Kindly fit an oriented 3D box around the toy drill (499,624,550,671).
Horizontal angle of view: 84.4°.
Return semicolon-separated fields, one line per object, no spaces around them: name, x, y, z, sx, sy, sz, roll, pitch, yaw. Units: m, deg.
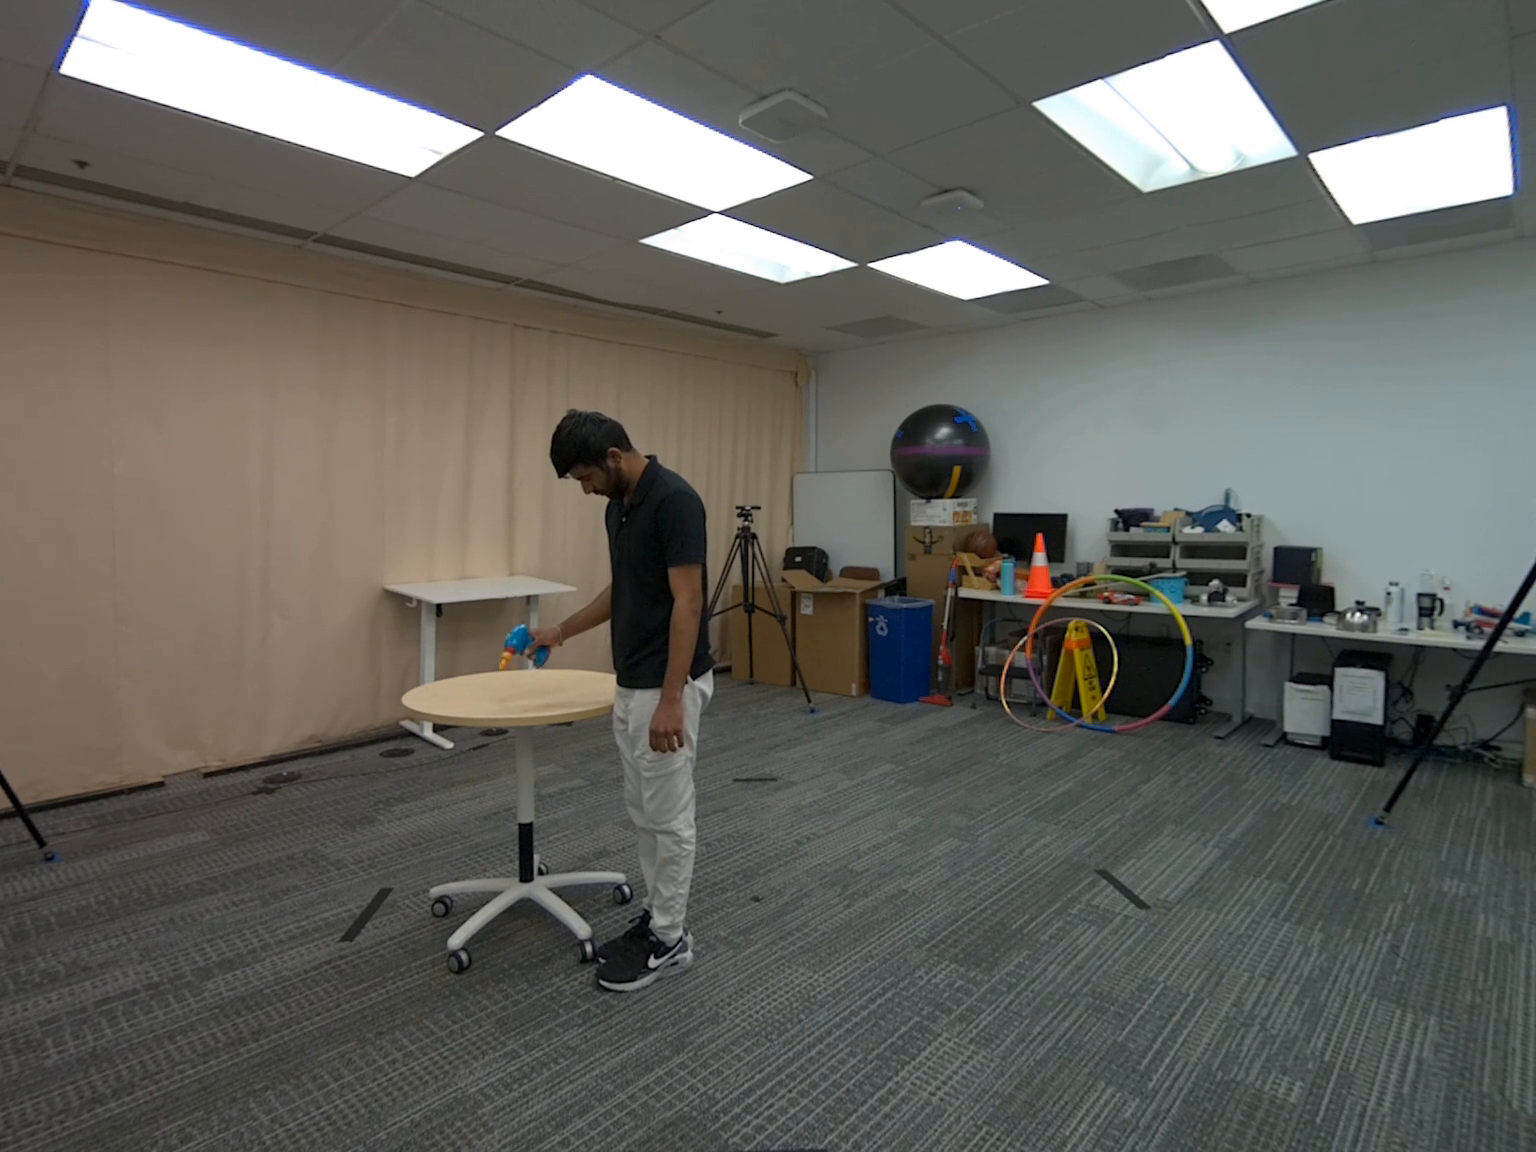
toy drill;-0.741;0.242;2.570;0.062;0.171;0.142;-20;-53;37
